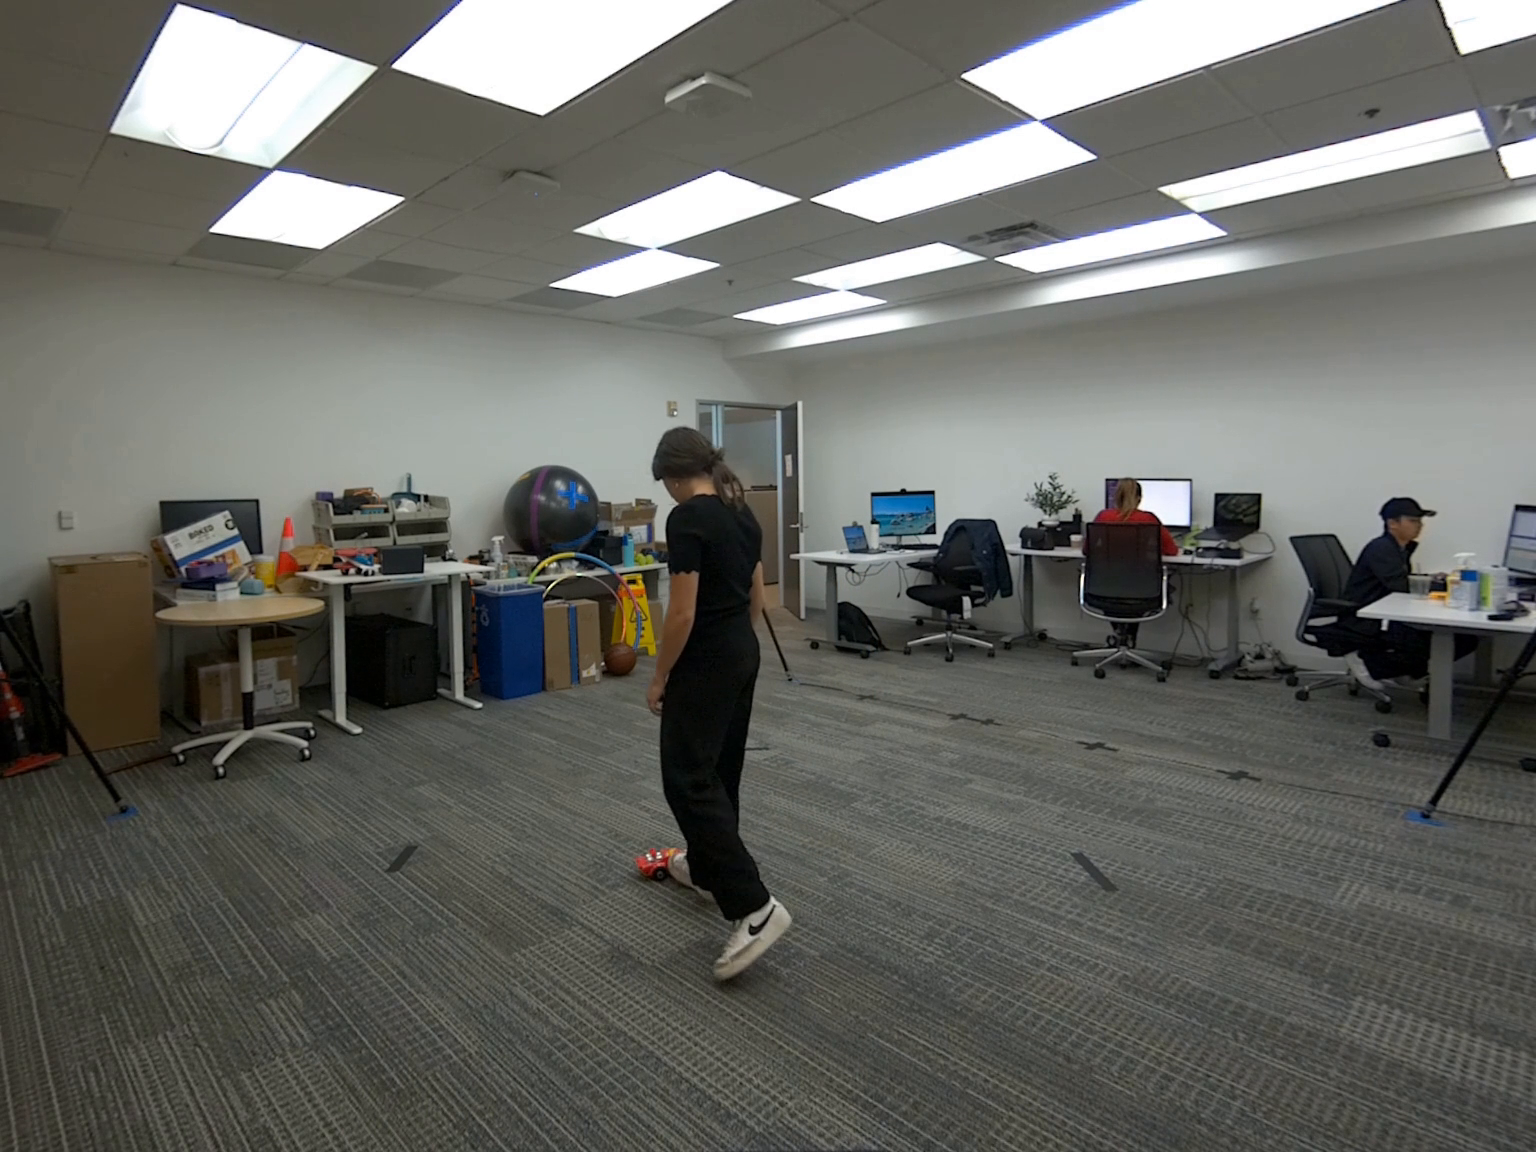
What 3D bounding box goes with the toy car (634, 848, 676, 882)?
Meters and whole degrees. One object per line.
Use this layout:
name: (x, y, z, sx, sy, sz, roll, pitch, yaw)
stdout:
toy car: (-0.350, 1.021, 3.052, 0.250, 0.083, 0.133, 8, 3, -19)
